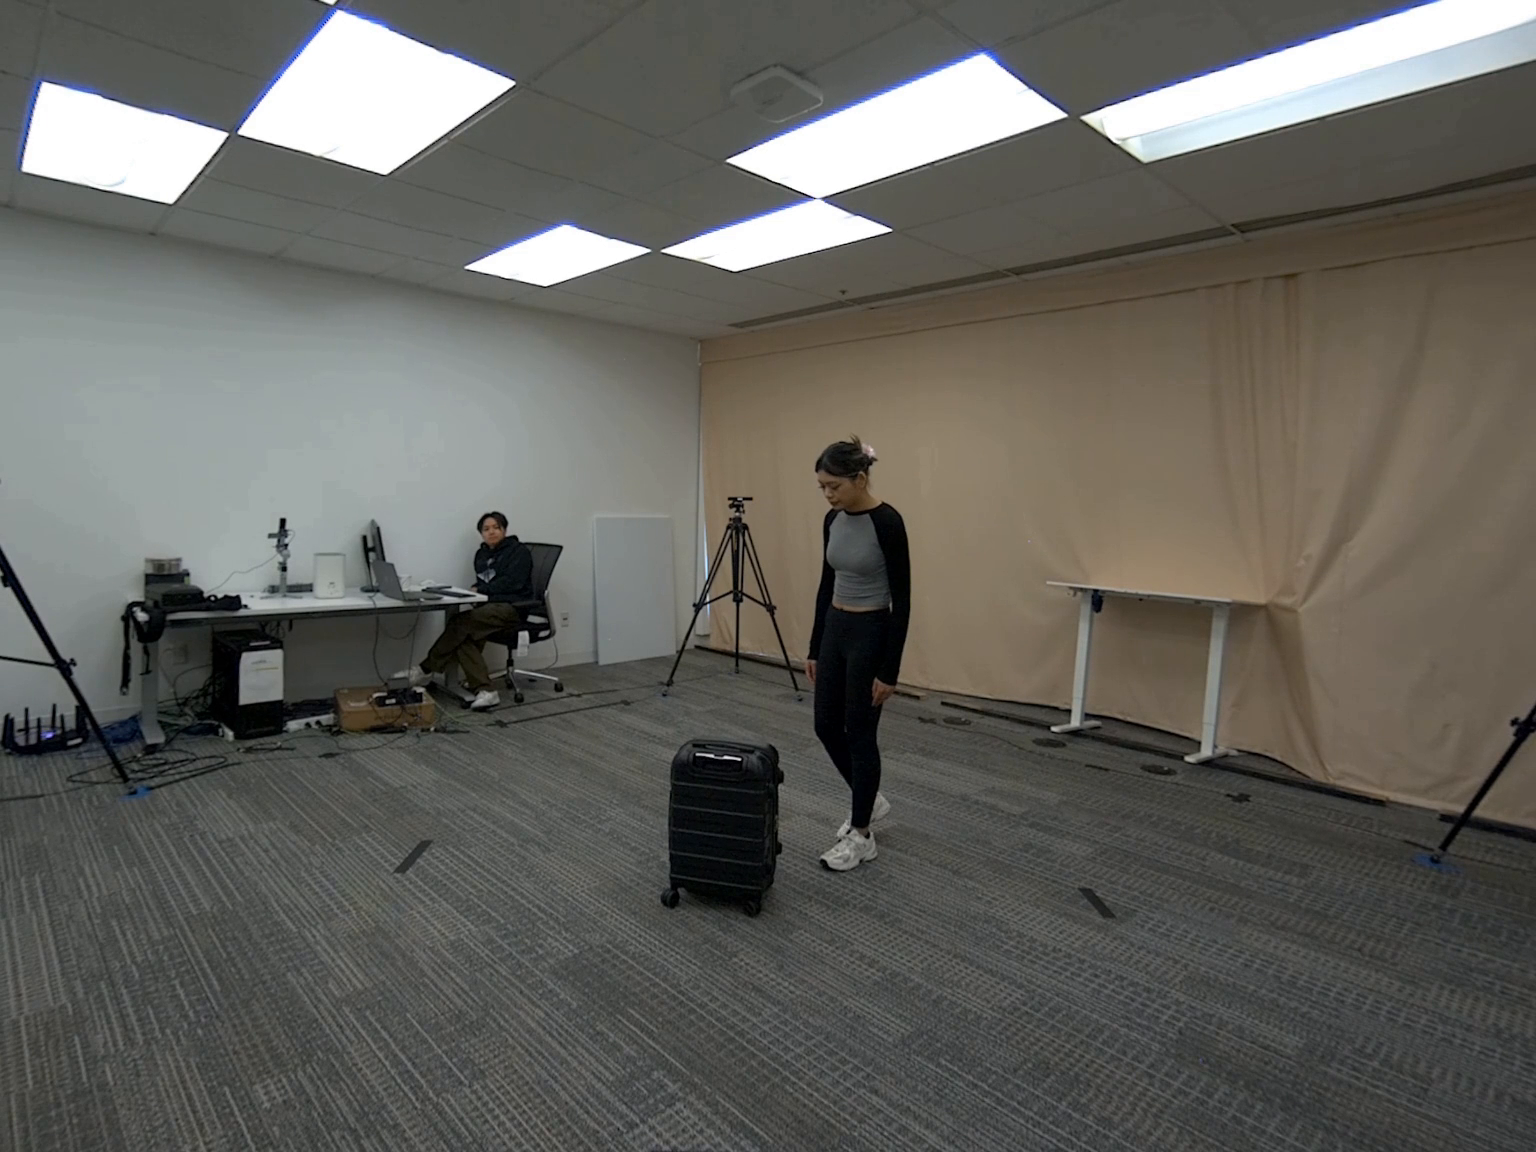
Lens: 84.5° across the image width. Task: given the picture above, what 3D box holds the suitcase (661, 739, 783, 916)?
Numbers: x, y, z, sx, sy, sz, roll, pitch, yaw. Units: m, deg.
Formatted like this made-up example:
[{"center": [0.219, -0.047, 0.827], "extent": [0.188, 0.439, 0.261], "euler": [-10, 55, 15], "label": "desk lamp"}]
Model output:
[{"center": [-0.156, 0.846, 2.936], "extent": [0.380, 0.548, 0.245], "euler": [2, 3, 16], "label": "suitcase"}]
